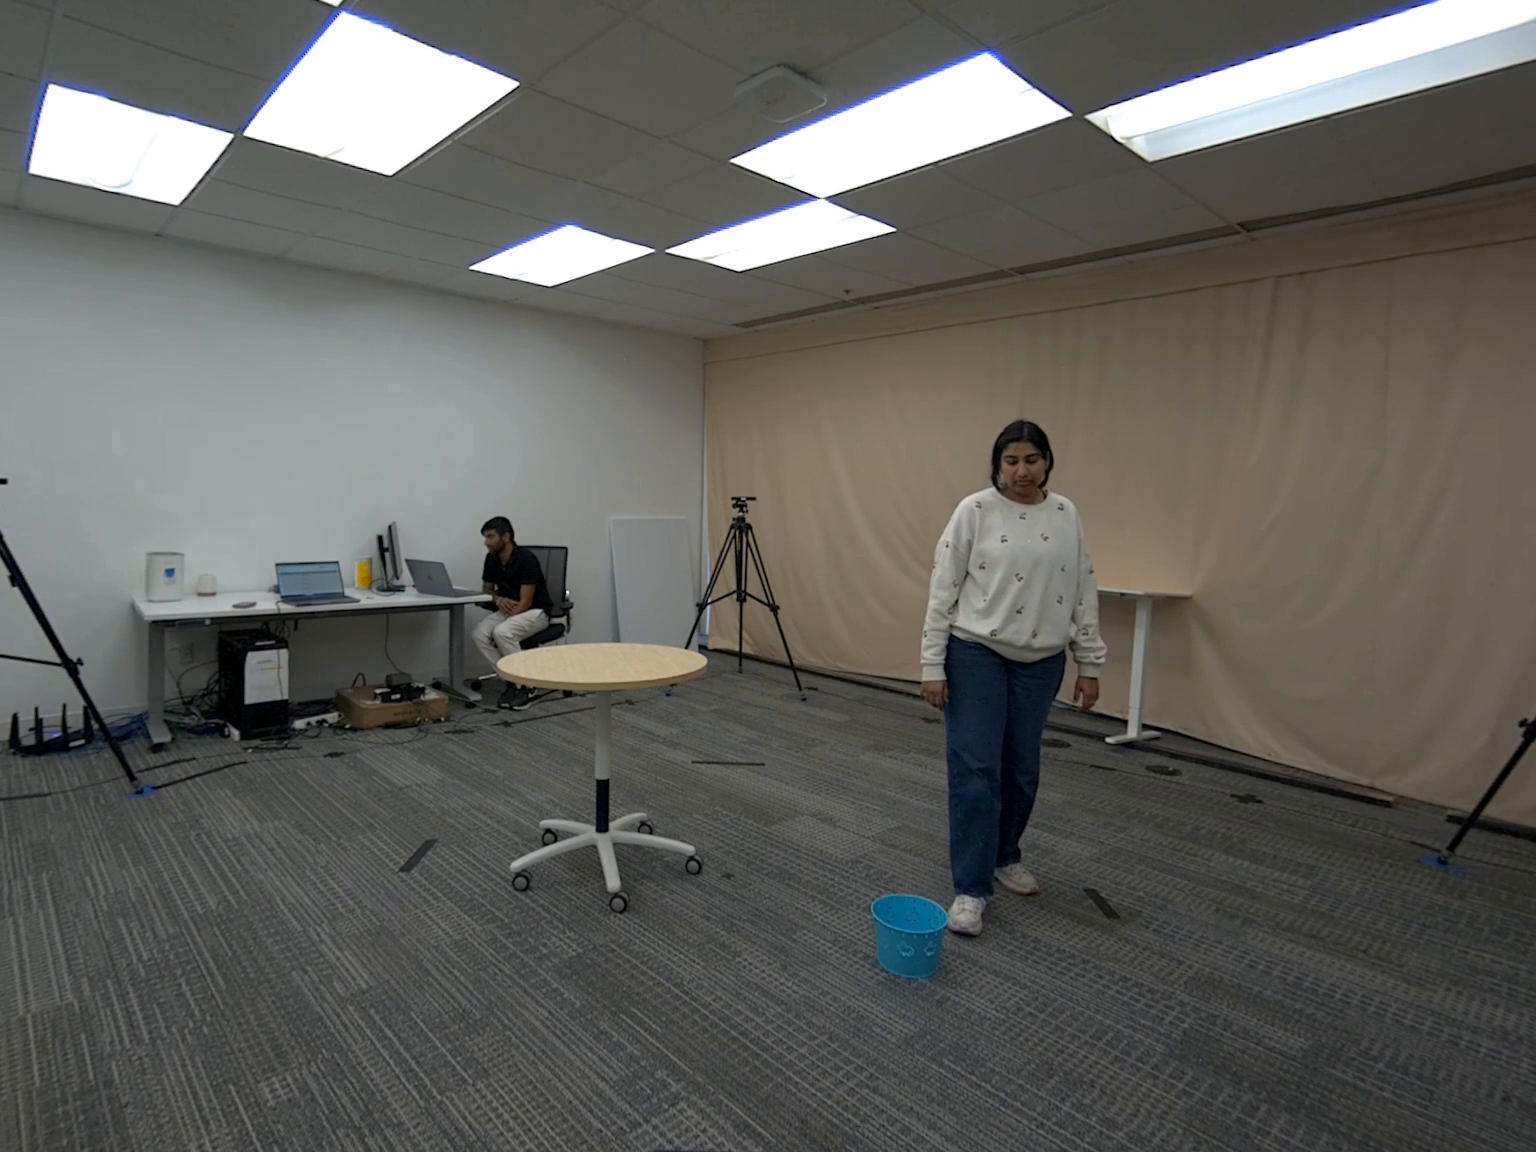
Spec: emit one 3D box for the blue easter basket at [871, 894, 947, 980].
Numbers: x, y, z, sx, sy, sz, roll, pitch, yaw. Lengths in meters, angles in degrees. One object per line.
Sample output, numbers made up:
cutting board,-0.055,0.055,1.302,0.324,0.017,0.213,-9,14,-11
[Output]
blue easter basket,0.426,1.090,2.561,0.243,0.155,0.244,1,5,-1
